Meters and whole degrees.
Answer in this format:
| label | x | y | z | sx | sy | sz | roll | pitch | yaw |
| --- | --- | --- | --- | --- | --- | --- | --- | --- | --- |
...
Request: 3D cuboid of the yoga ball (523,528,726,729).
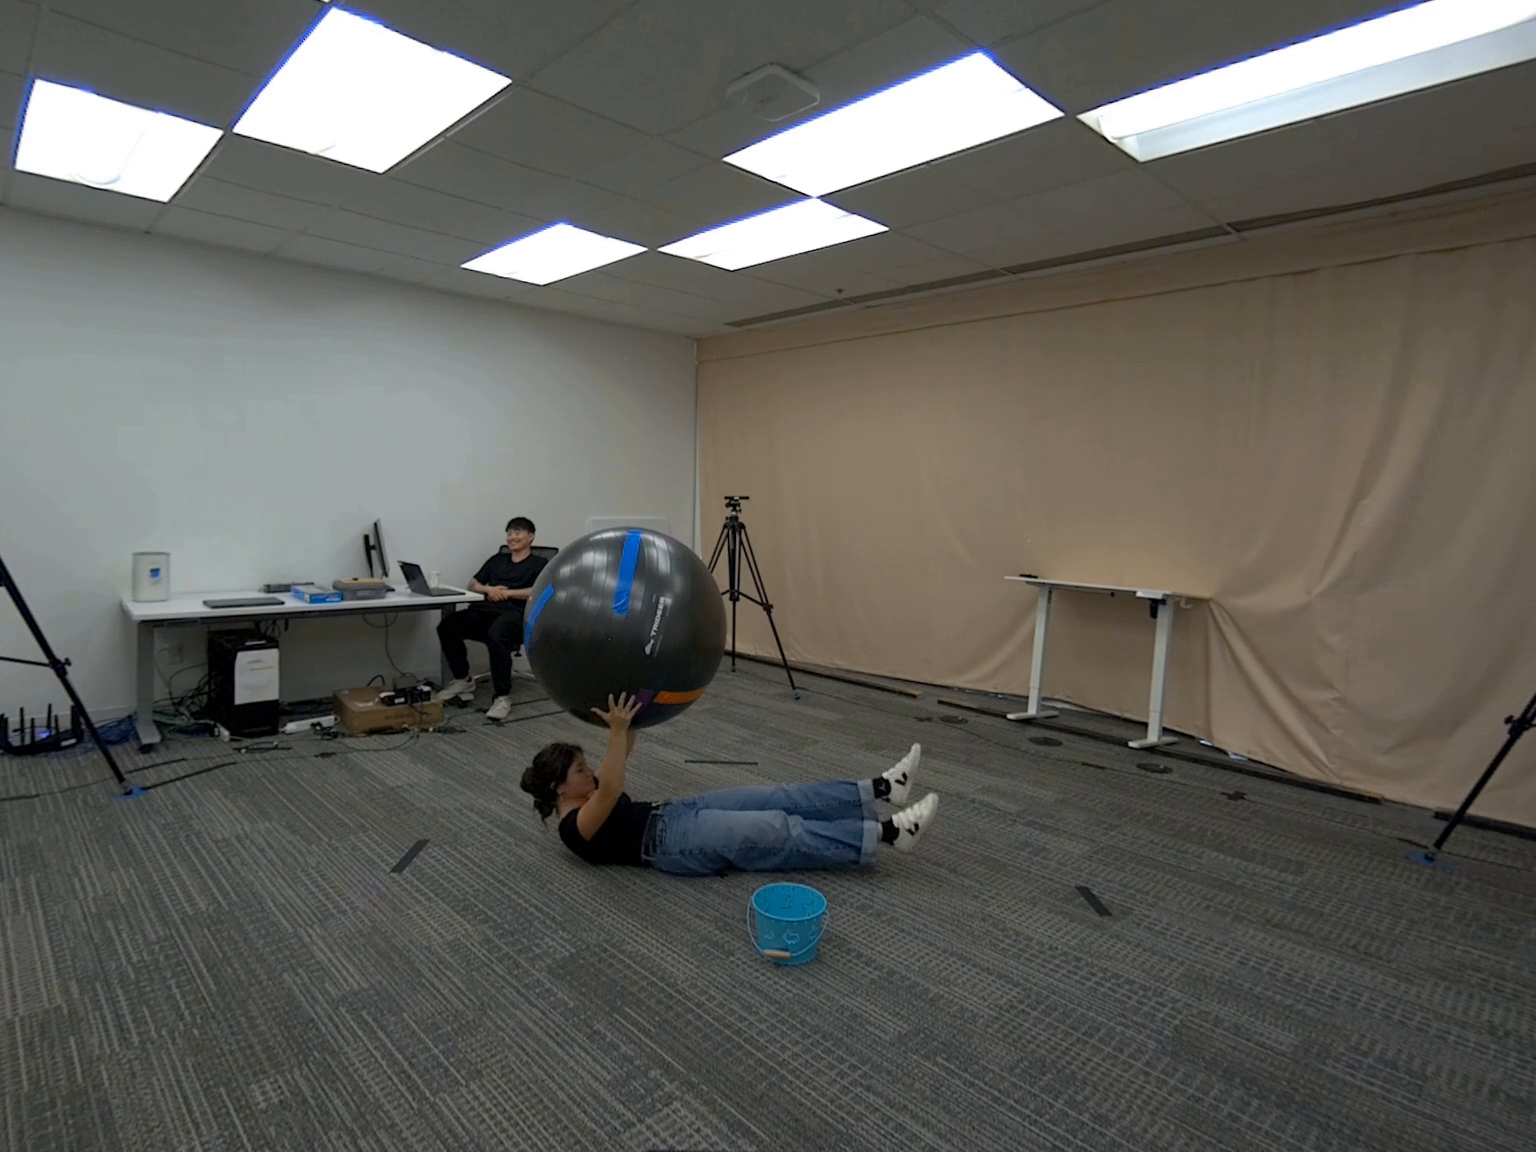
| label | x | y | z | sx | sy | sz | roll | pitch | yaw |
| --- | --- | --- | --- | --- | --- | --- | --- | --- | --- |
| yoga ball | -0.539 | 0.197 | 3.168 | 0.757 | 0.756 | 0.761 | 1 | 4 | -1 |
